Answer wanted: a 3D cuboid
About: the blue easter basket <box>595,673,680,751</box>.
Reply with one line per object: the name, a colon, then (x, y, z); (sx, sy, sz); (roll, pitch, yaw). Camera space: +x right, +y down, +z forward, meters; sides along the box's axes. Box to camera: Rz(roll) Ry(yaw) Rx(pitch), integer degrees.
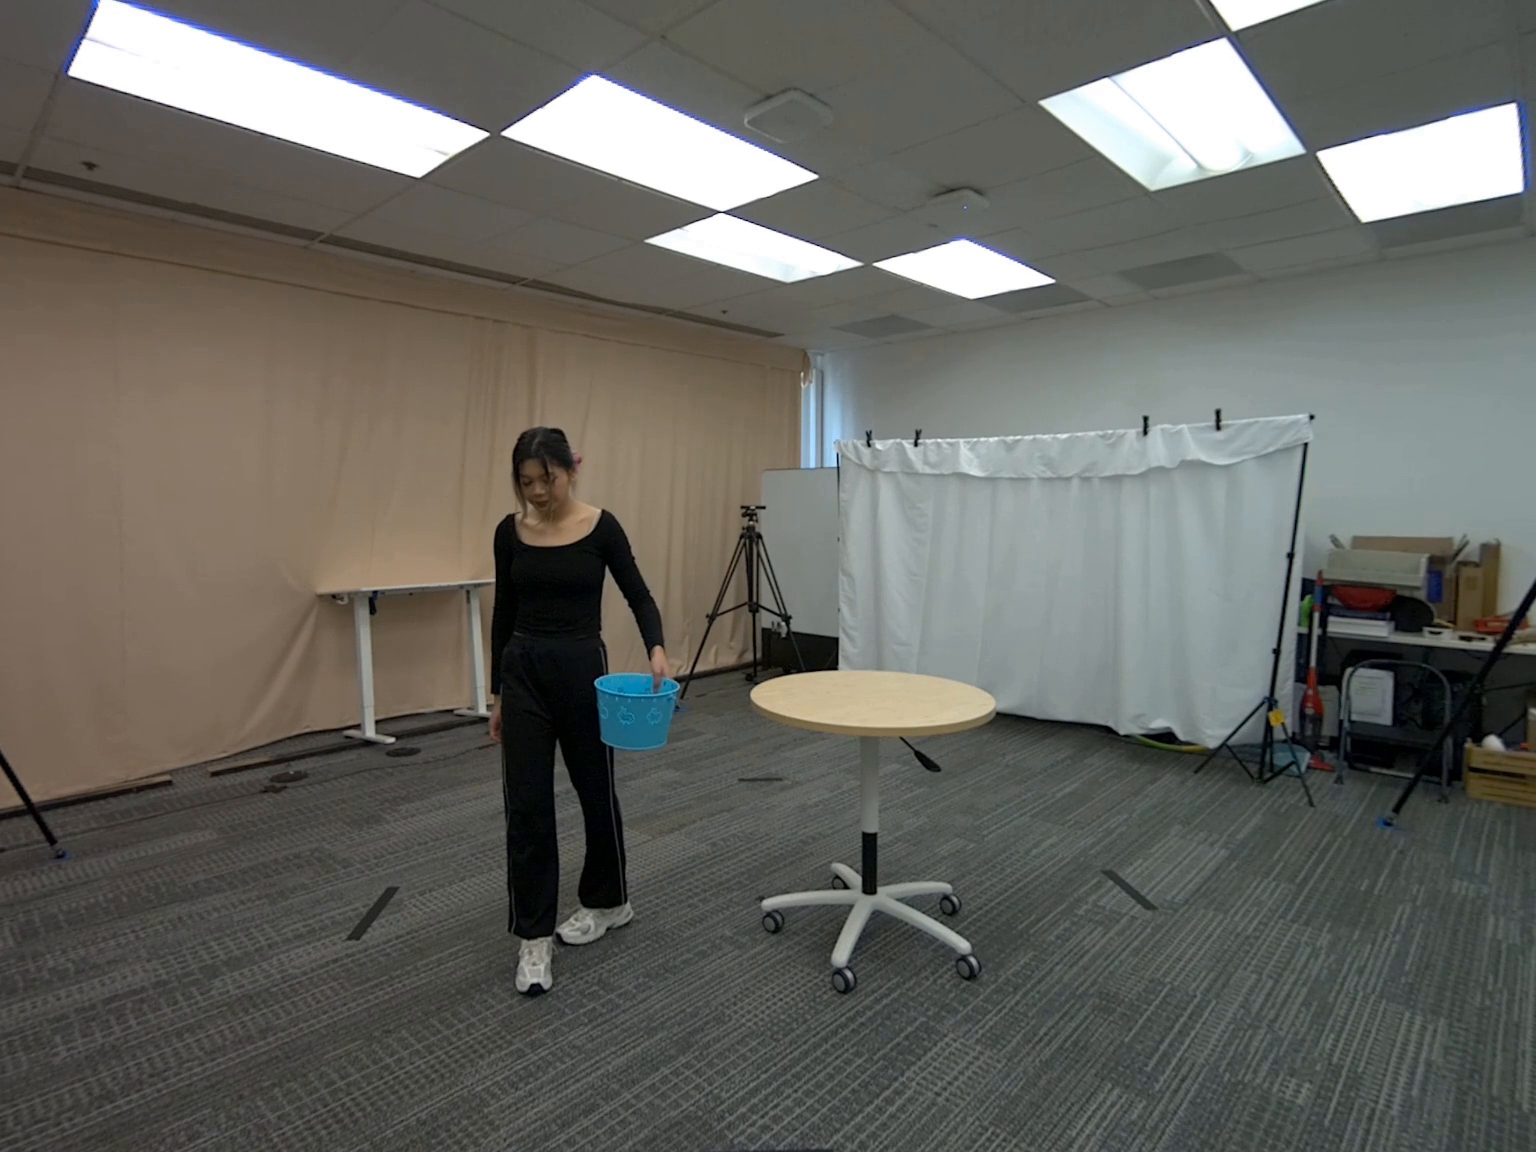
blue easter basket: (-0.359, 0.368, 2.273); (0.243, 0.155, 0.245); (4, 6, -2)
